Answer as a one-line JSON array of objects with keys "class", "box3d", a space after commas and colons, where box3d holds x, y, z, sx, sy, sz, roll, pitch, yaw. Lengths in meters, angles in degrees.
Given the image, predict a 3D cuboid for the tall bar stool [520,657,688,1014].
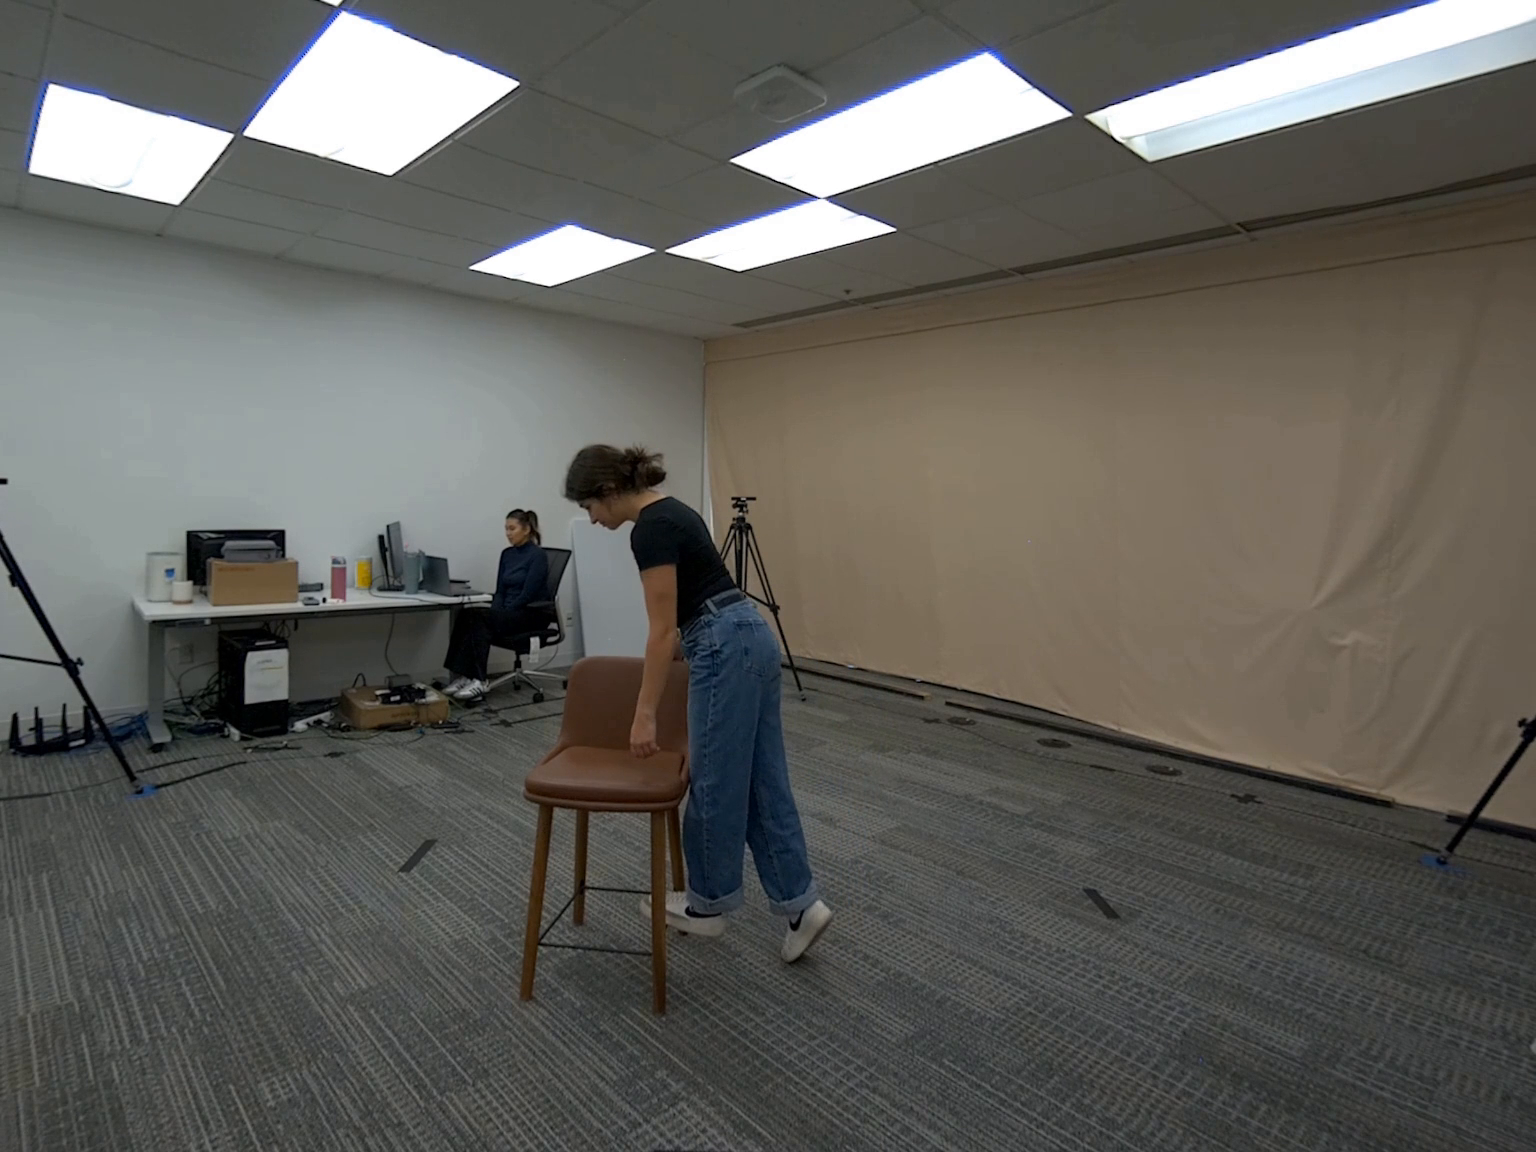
[{"class": "tall bar stool", "box3d": [-0.460, 0.723, 2.485, 0.460, 0.889, 0.465, 1, 2, 7]}]
